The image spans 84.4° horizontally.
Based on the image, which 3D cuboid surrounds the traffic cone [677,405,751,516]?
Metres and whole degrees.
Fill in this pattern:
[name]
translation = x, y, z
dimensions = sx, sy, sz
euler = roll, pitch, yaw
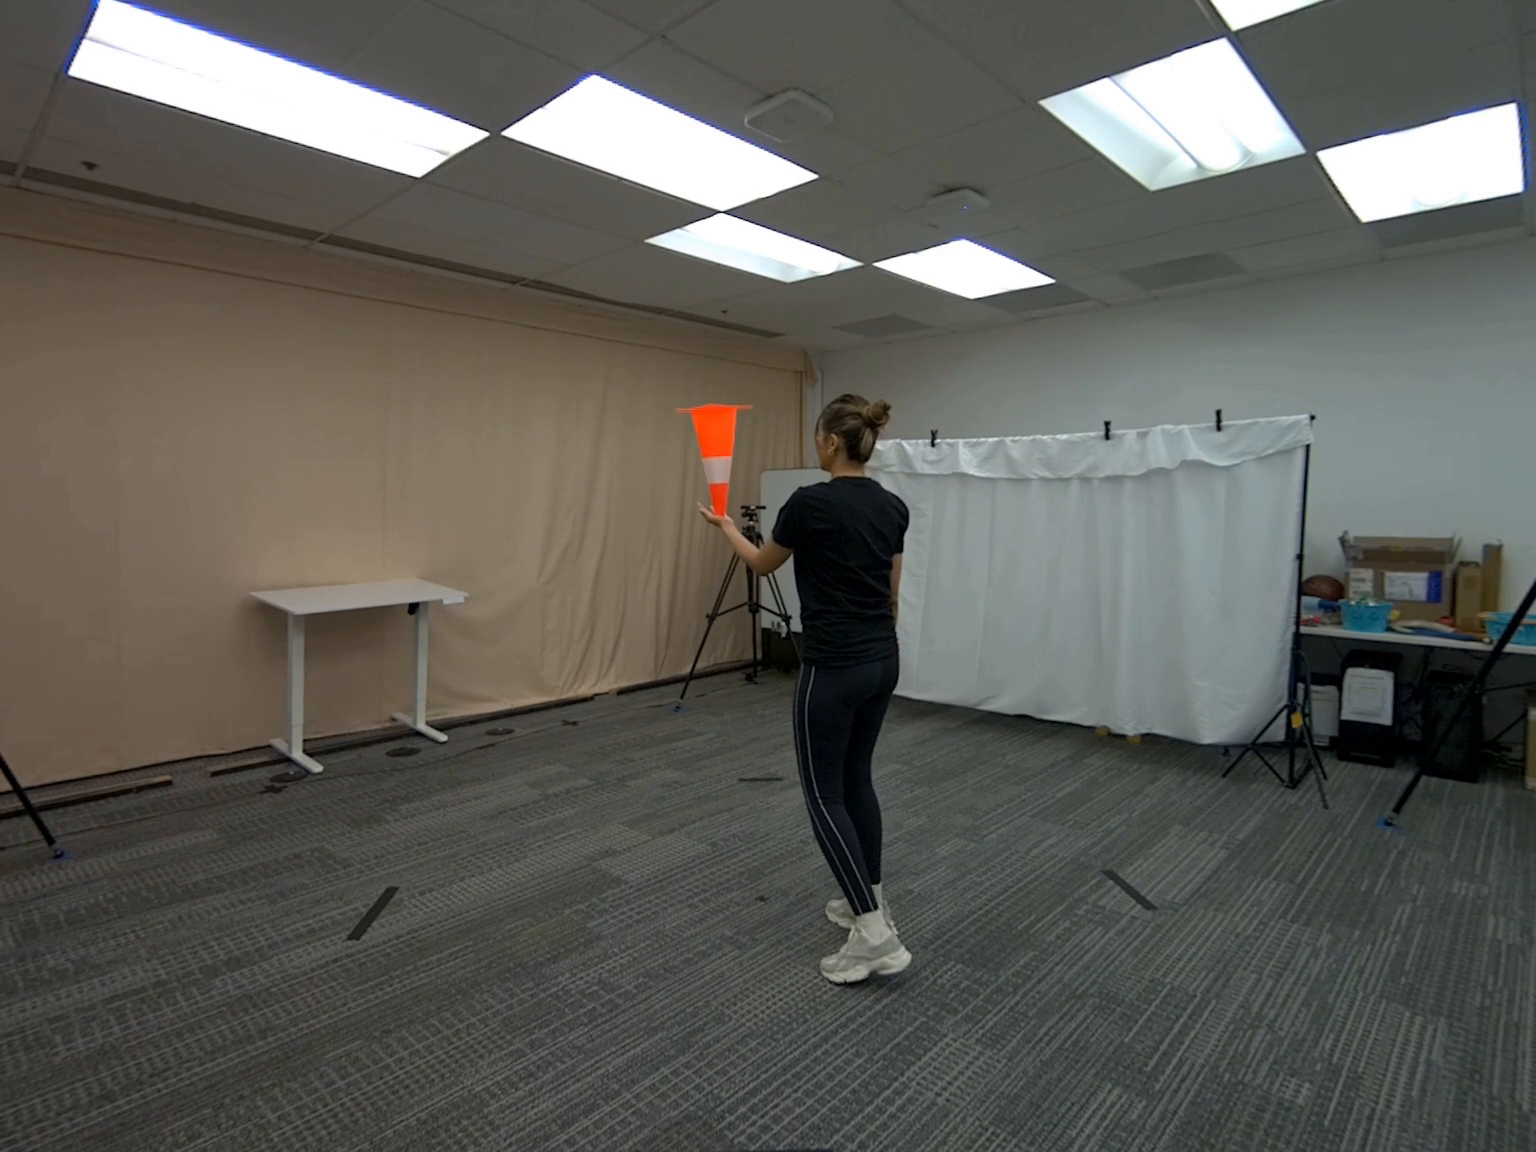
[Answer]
[traffic cone]
translation = -0.176, -0.389, 2.915
dimensions = 0.197, 0.382, 0.212
euler = -8, 7, -38
